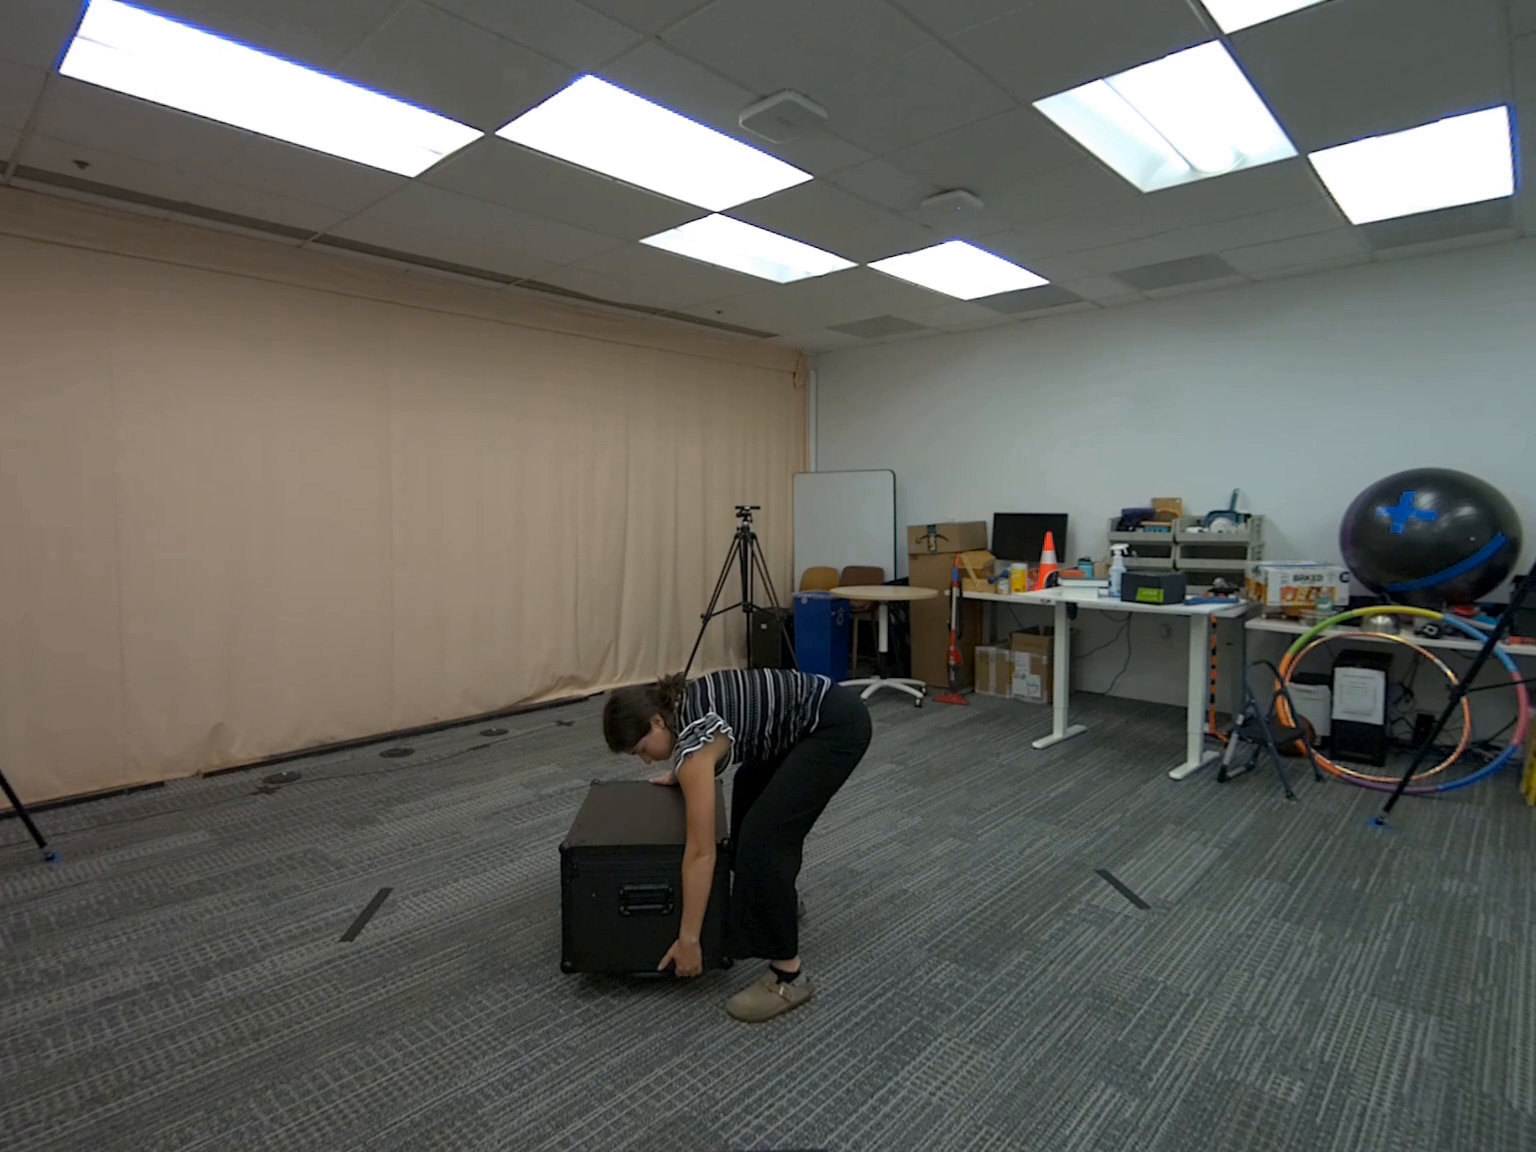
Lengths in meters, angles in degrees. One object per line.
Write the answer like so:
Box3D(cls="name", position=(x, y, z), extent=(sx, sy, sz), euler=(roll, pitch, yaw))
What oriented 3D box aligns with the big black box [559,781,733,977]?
Box3D(cls="big black box", position=(-0.379, 0.948, 2.794), extent=(0.519, 0.396, 0.865), euler=(-1, 0, -5))
